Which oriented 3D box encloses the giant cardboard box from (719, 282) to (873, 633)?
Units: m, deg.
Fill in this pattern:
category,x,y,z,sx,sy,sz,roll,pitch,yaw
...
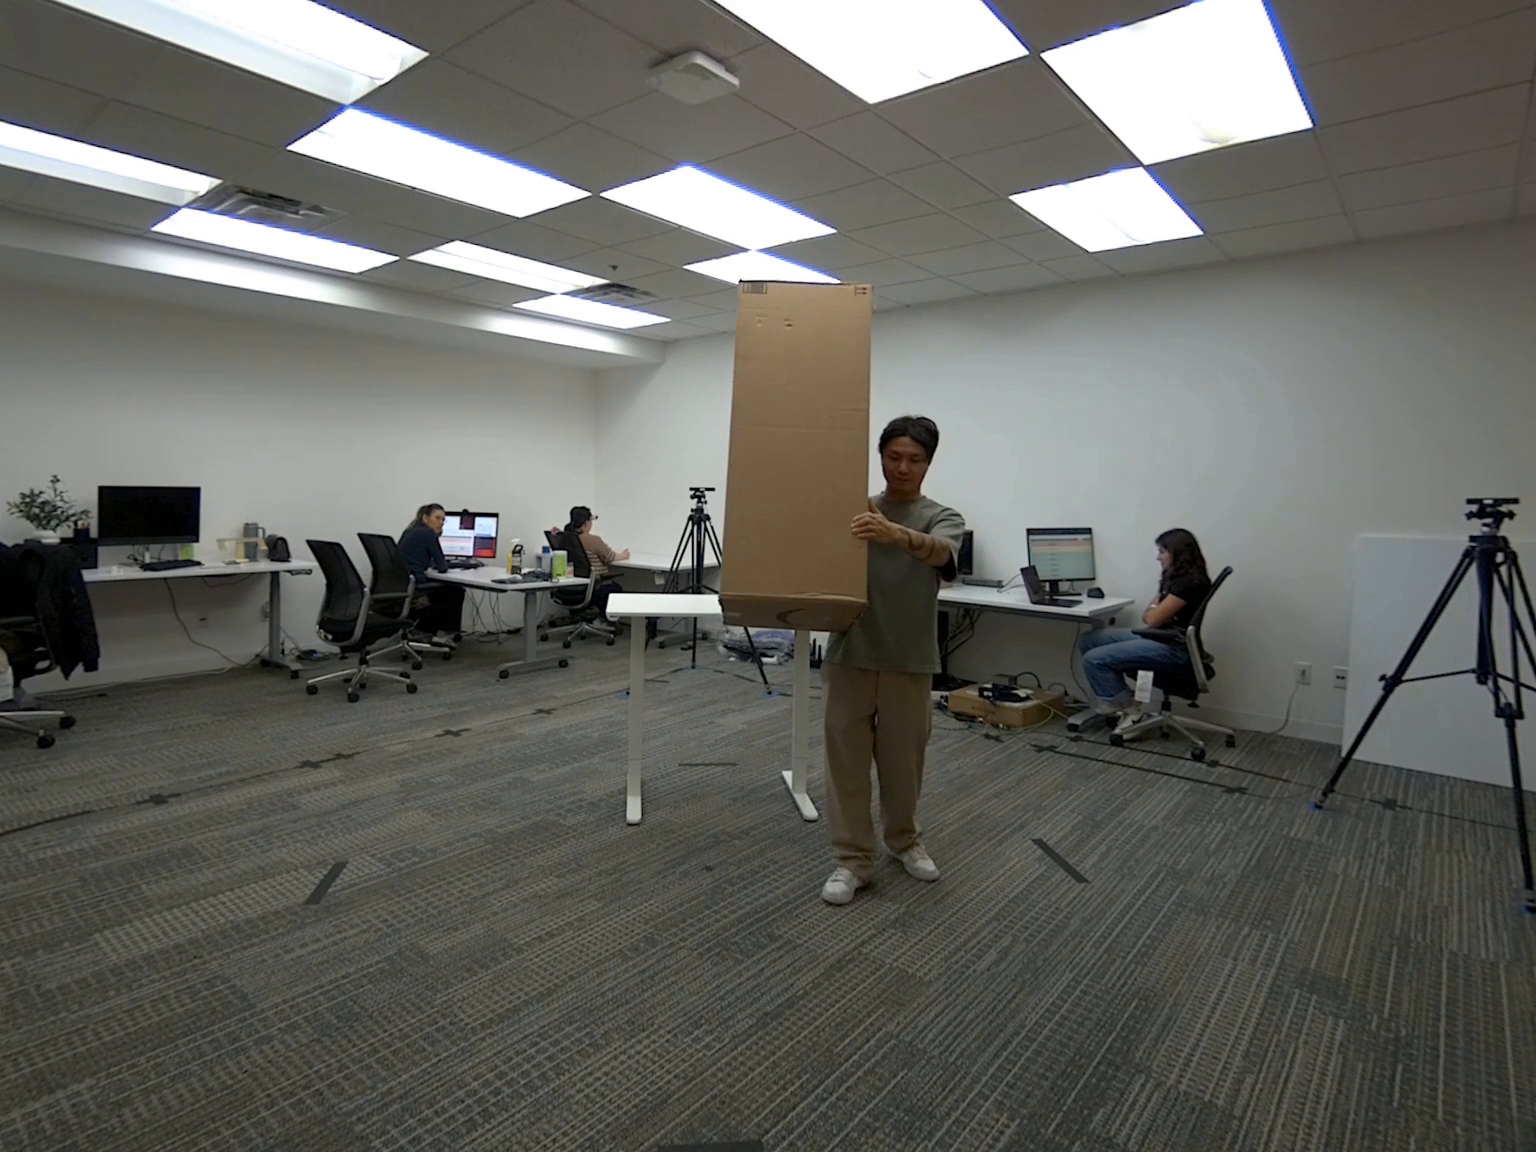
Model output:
category,x,y,z,sx,sy,sz,roll,pitch,yaw
giant cardboard box,0.086,-0.366,2.810,0.427,1.039,0.569,2,-14,1
